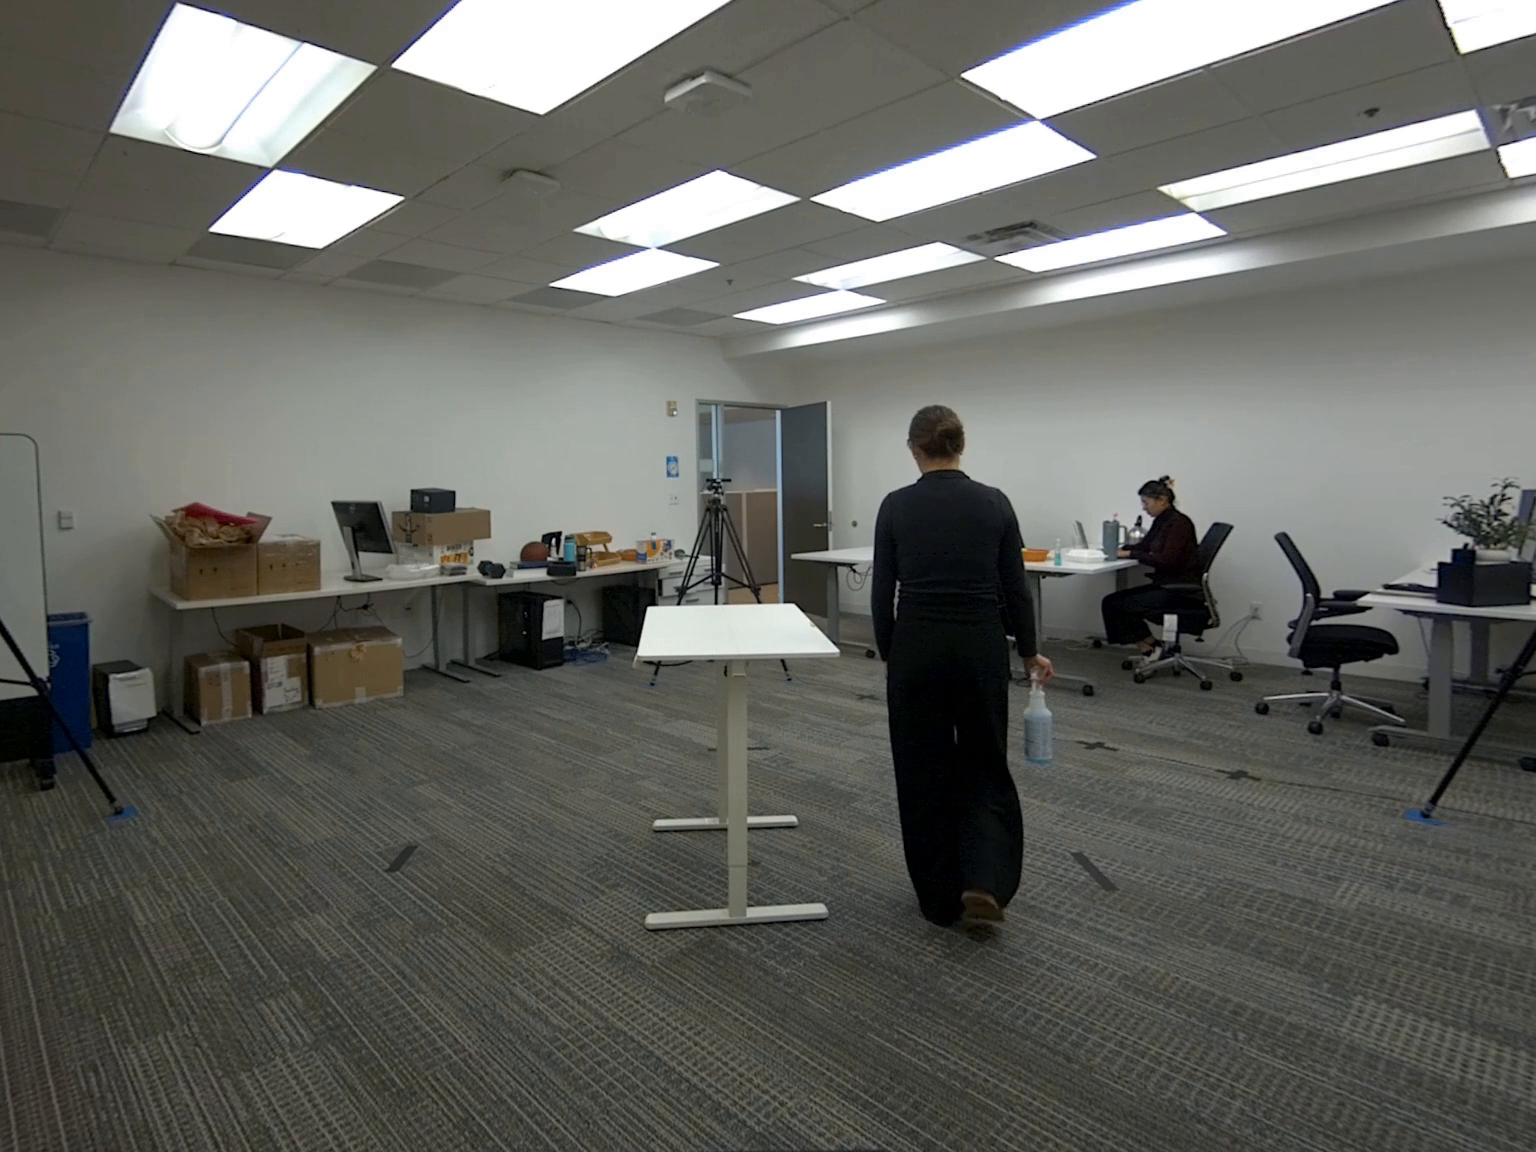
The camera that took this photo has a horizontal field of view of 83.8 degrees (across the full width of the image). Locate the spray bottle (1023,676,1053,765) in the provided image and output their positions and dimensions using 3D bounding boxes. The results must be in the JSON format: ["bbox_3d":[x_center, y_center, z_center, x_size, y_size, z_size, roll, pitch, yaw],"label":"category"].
[{"bbox_3d":[0.867,0.453,2.763,0.088,0.296,0.089,-8,6,-32],"label":"spray bottle"}]
